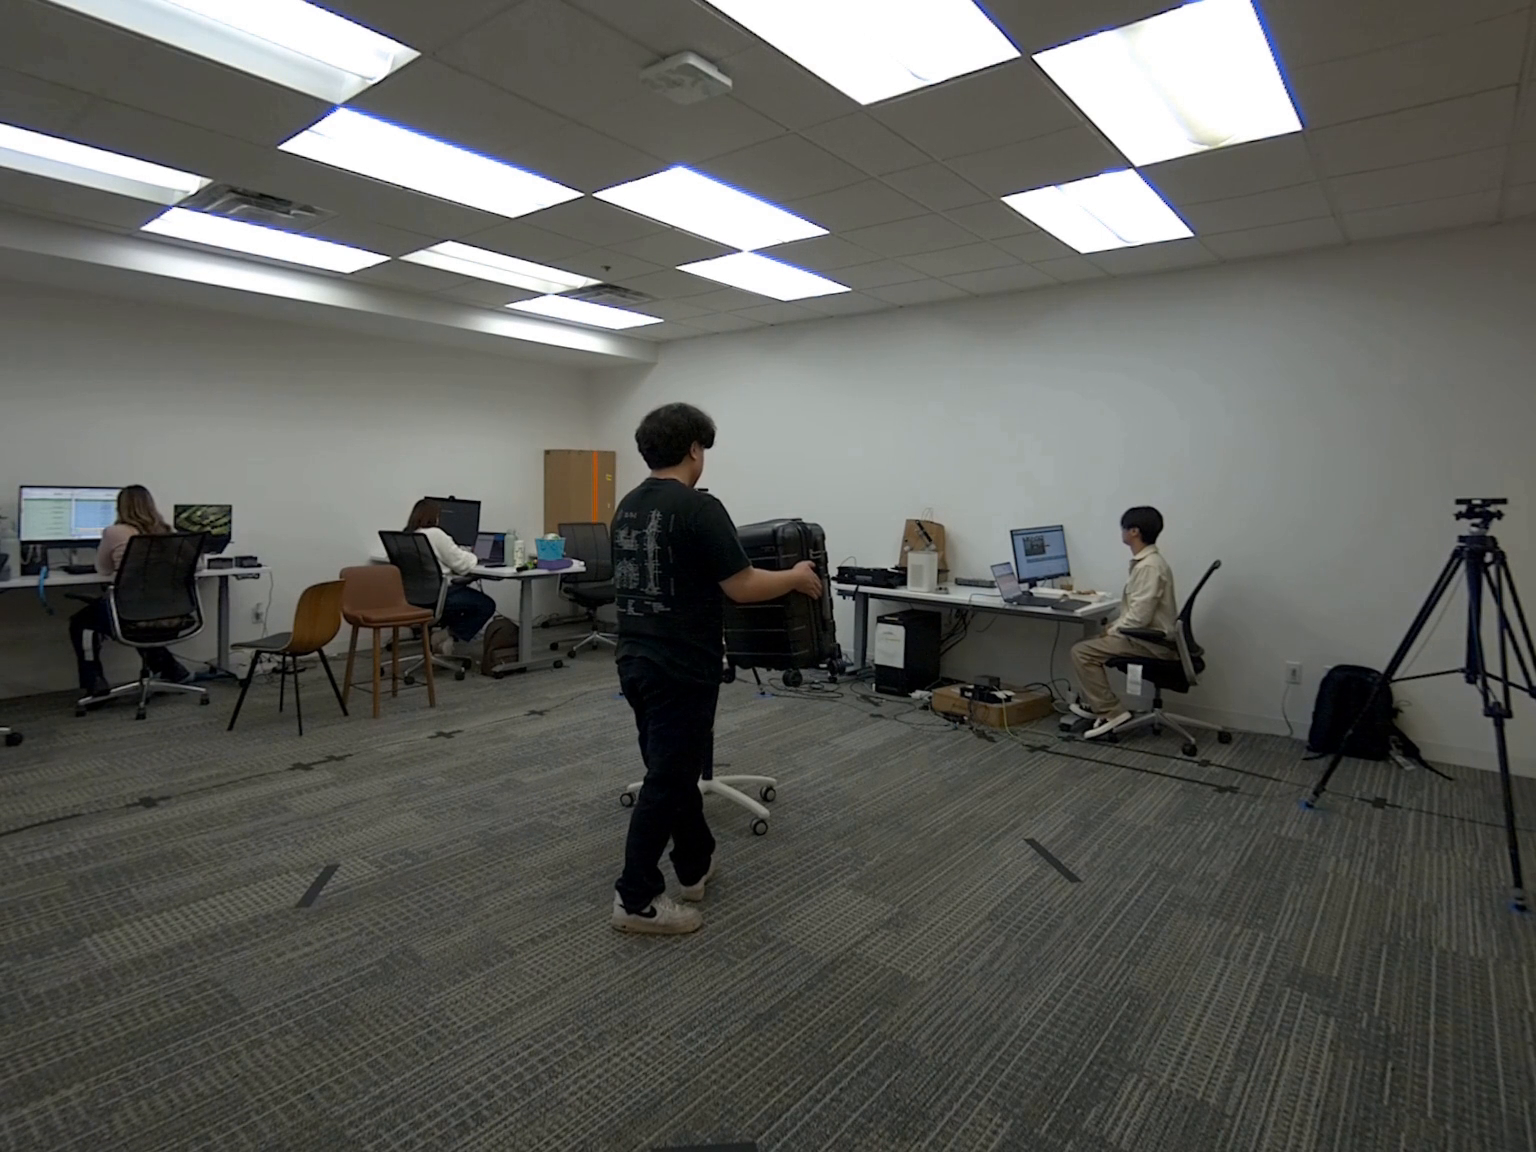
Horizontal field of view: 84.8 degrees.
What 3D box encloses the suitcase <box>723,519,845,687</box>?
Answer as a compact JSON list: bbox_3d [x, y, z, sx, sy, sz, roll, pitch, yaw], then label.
[{"bbox_3d":[0.022,0.079,2.973,0.386,0.550,0.241,-5,0,43],"label":"suitcase"}]
